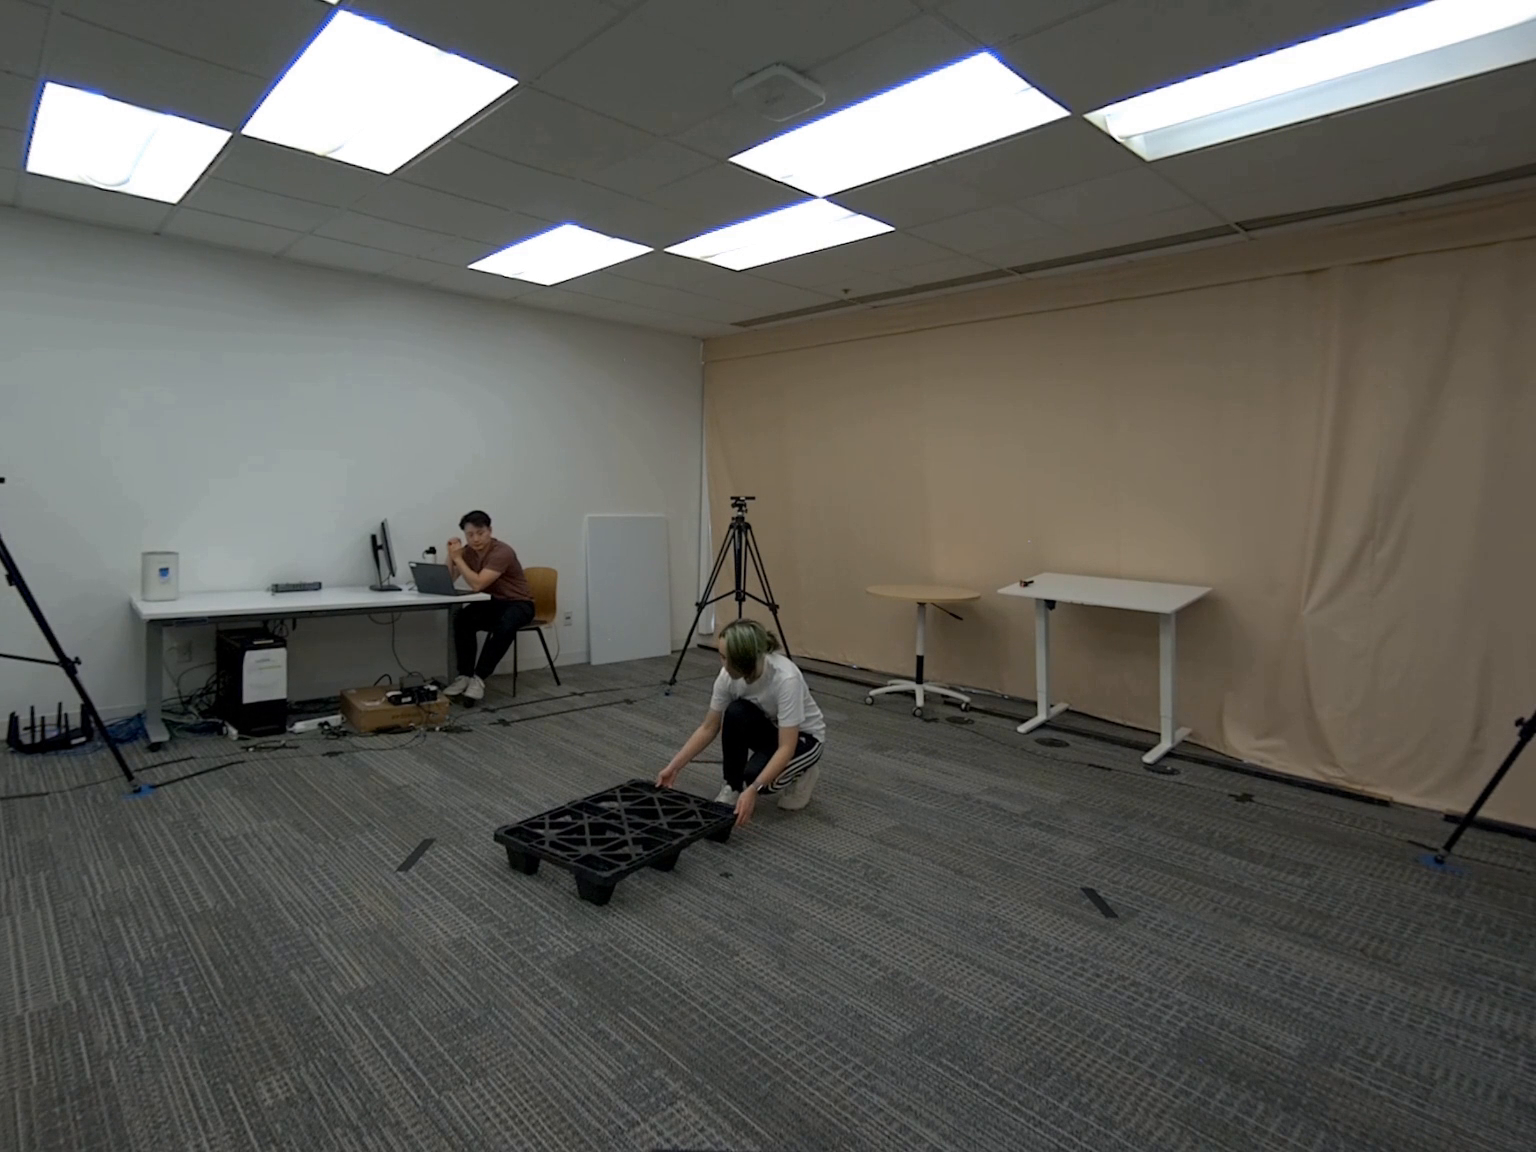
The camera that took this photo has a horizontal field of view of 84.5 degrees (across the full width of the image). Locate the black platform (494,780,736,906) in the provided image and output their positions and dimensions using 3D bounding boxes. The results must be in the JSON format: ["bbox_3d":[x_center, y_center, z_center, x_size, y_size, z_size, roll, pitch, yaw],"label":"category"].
[{"bbox_3d":[-0.568,1.014,3.263,0.620,0.143,0.788,4,6,35],"label":"black platform"}]
